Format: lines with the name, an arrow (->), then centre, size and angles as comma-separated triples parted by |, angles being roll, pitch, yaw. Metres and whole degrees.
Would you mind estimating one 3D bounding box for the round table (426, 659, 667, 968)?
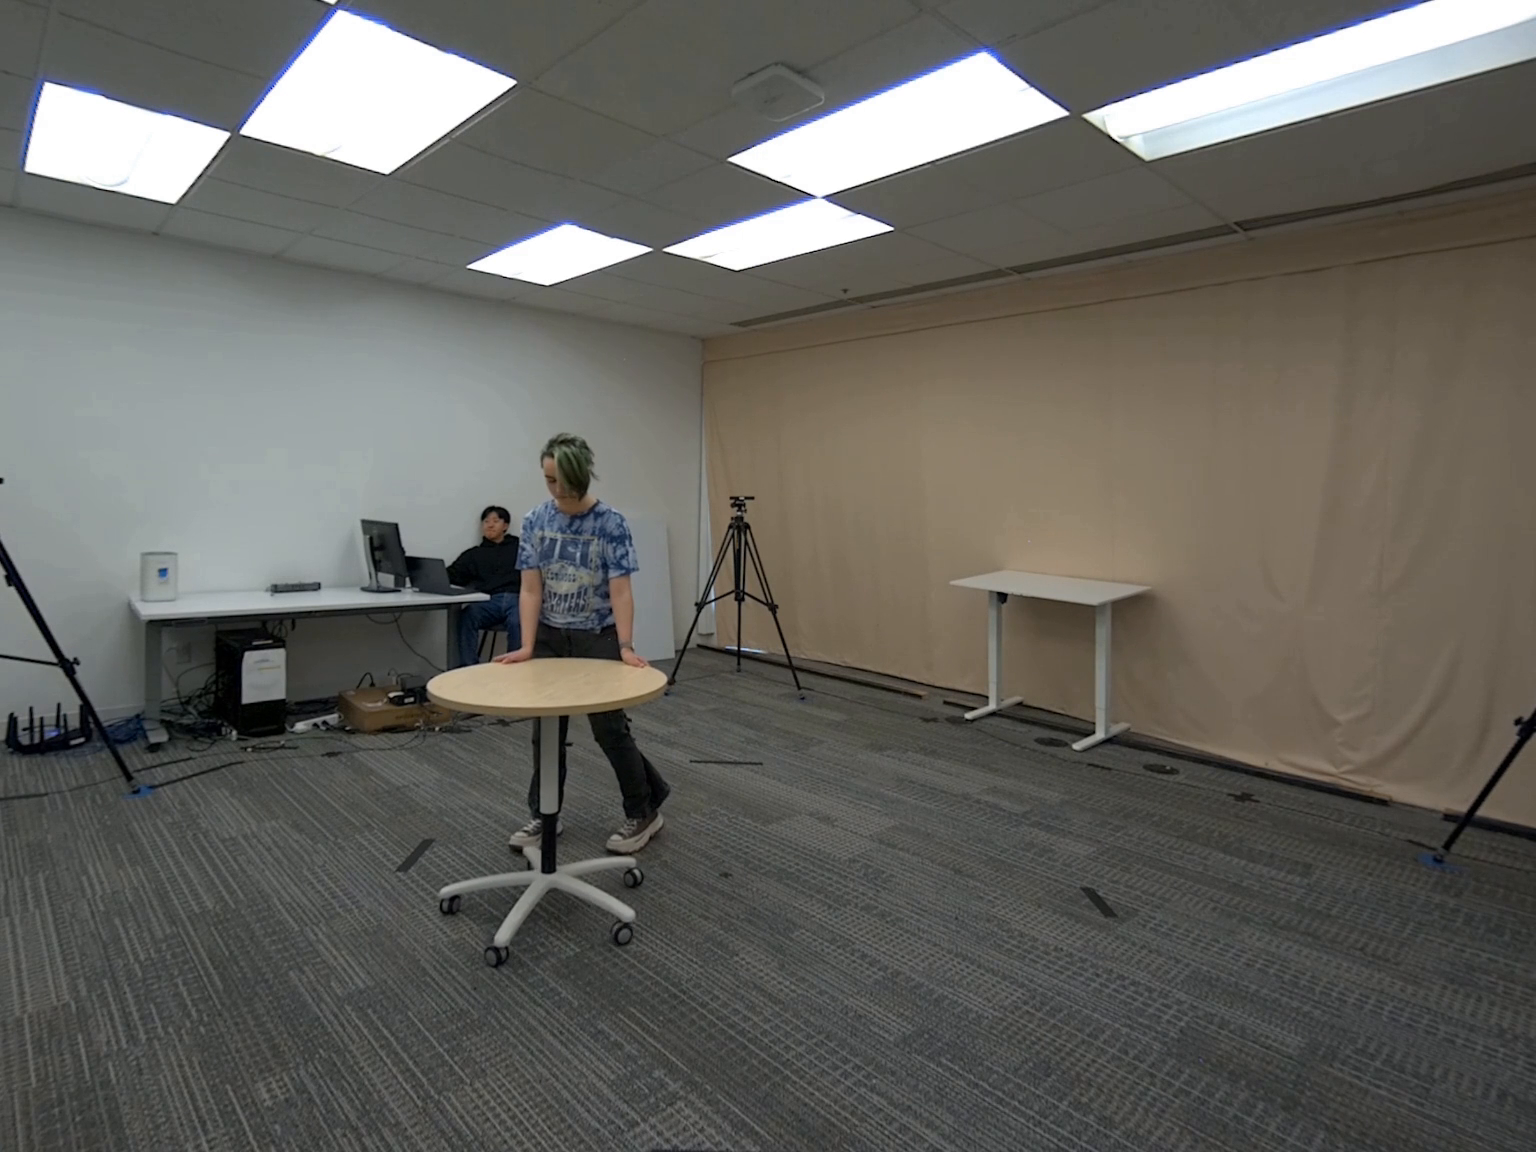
round table -> -0.731, 0.736, 2.767 | 0.763, 0.792, 0.766 | 1, 4, -1
